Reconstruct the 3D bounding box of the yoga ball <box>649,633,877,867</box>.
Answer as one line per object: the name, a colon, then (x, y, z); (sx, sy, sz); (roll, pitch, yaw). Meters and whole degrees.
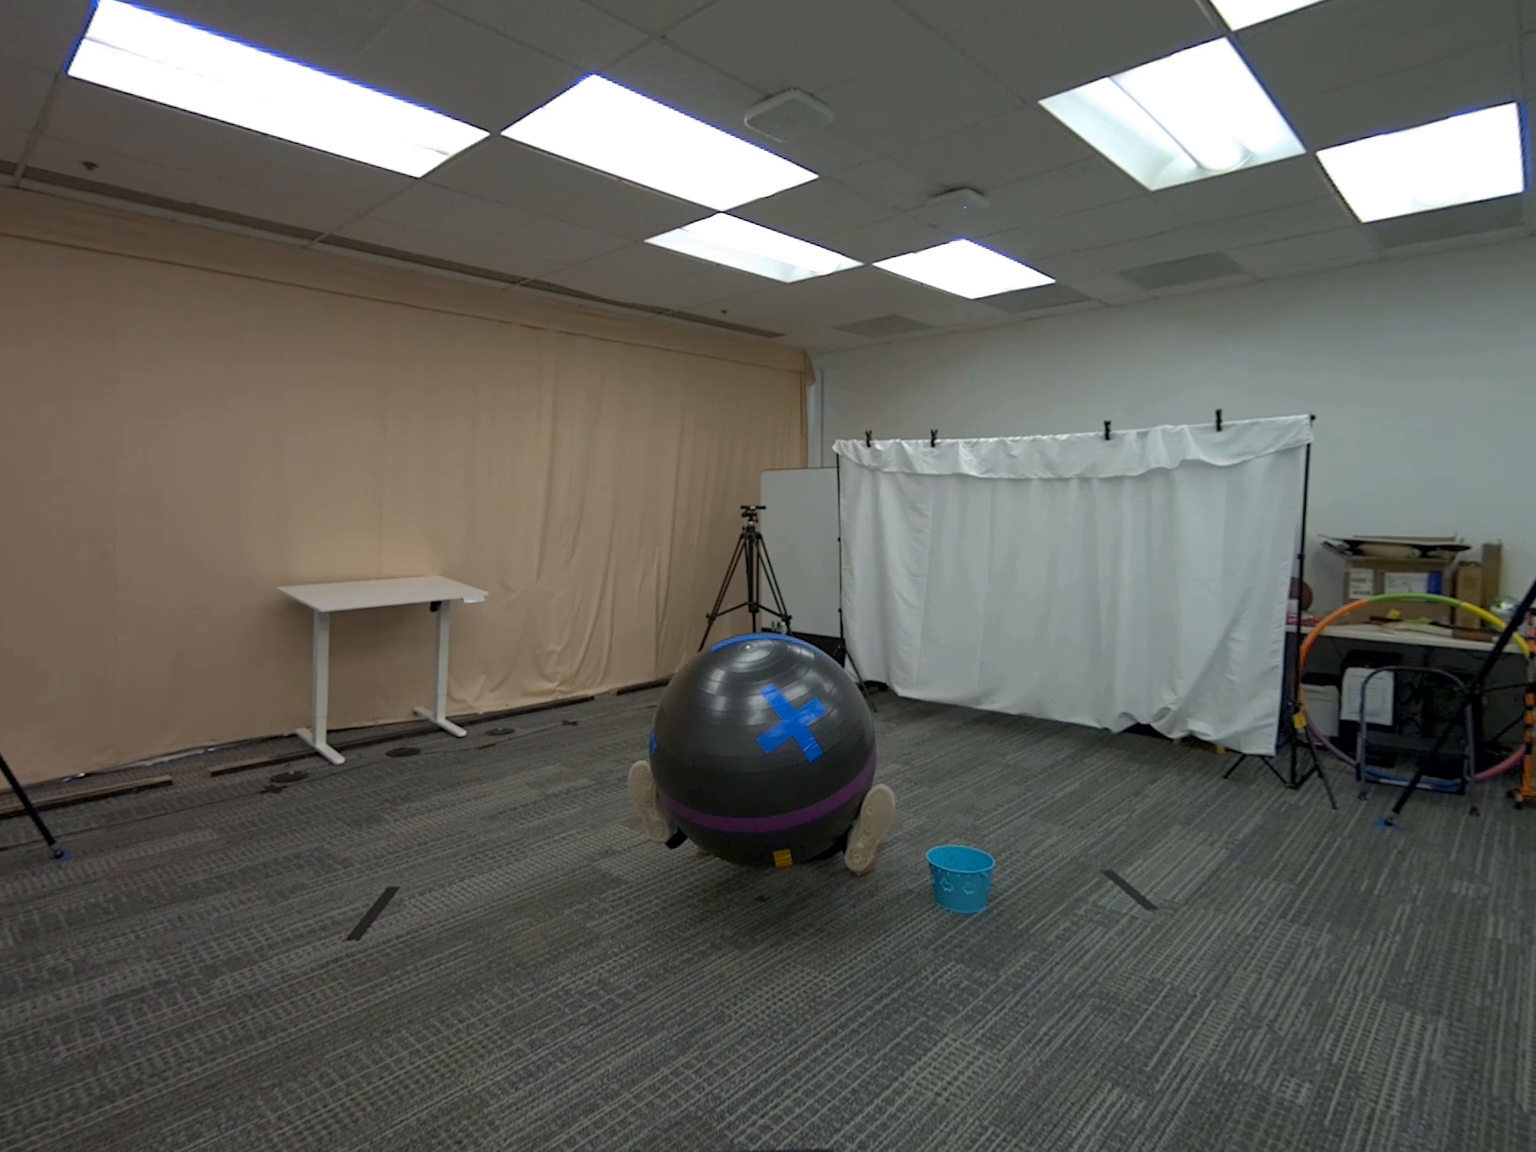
yoga ball: (-0.017, 0.575, 2.827); (0.757, 0.756, 0.760); (0, 4, -2)
